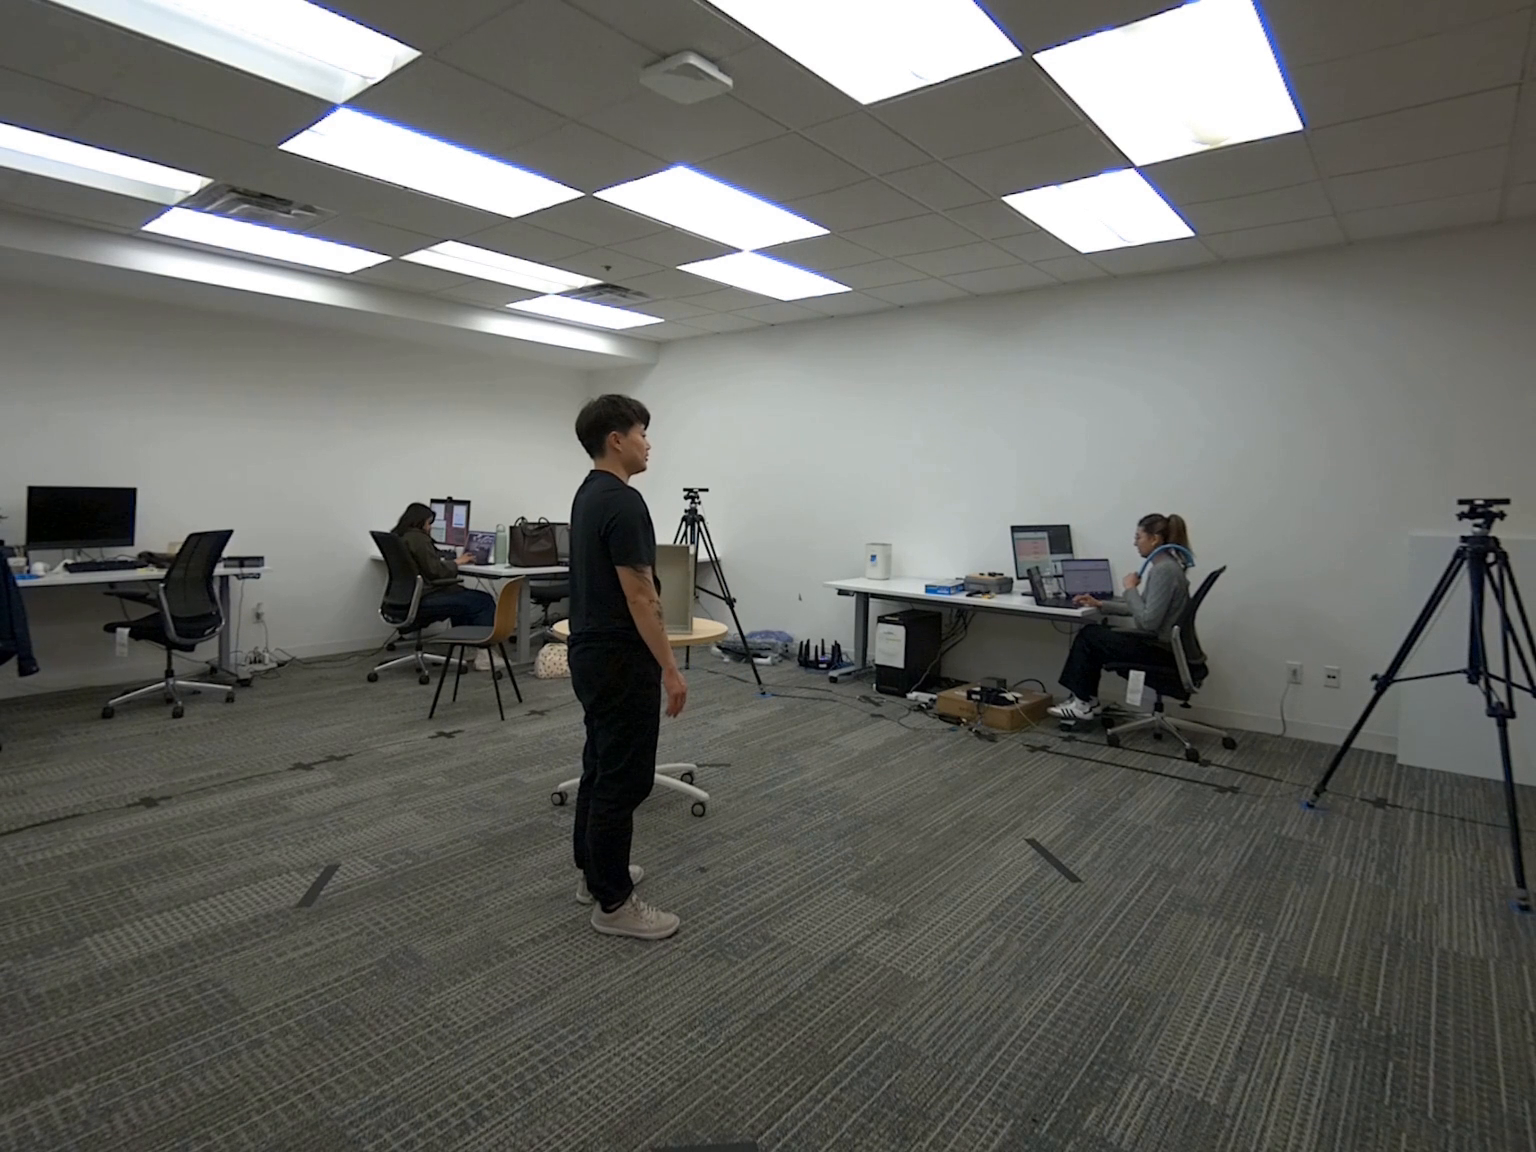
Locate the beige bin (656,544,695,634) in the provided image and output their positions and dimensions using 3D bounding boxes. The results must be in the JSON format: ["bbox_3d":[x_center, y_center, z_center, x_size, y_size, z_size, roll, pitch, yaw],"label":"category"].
[{"bbox_3d":[-0.535,0.046,3.619,0.421,0.378,0.189,0,-1,-3],"label":"beige bin"}]
